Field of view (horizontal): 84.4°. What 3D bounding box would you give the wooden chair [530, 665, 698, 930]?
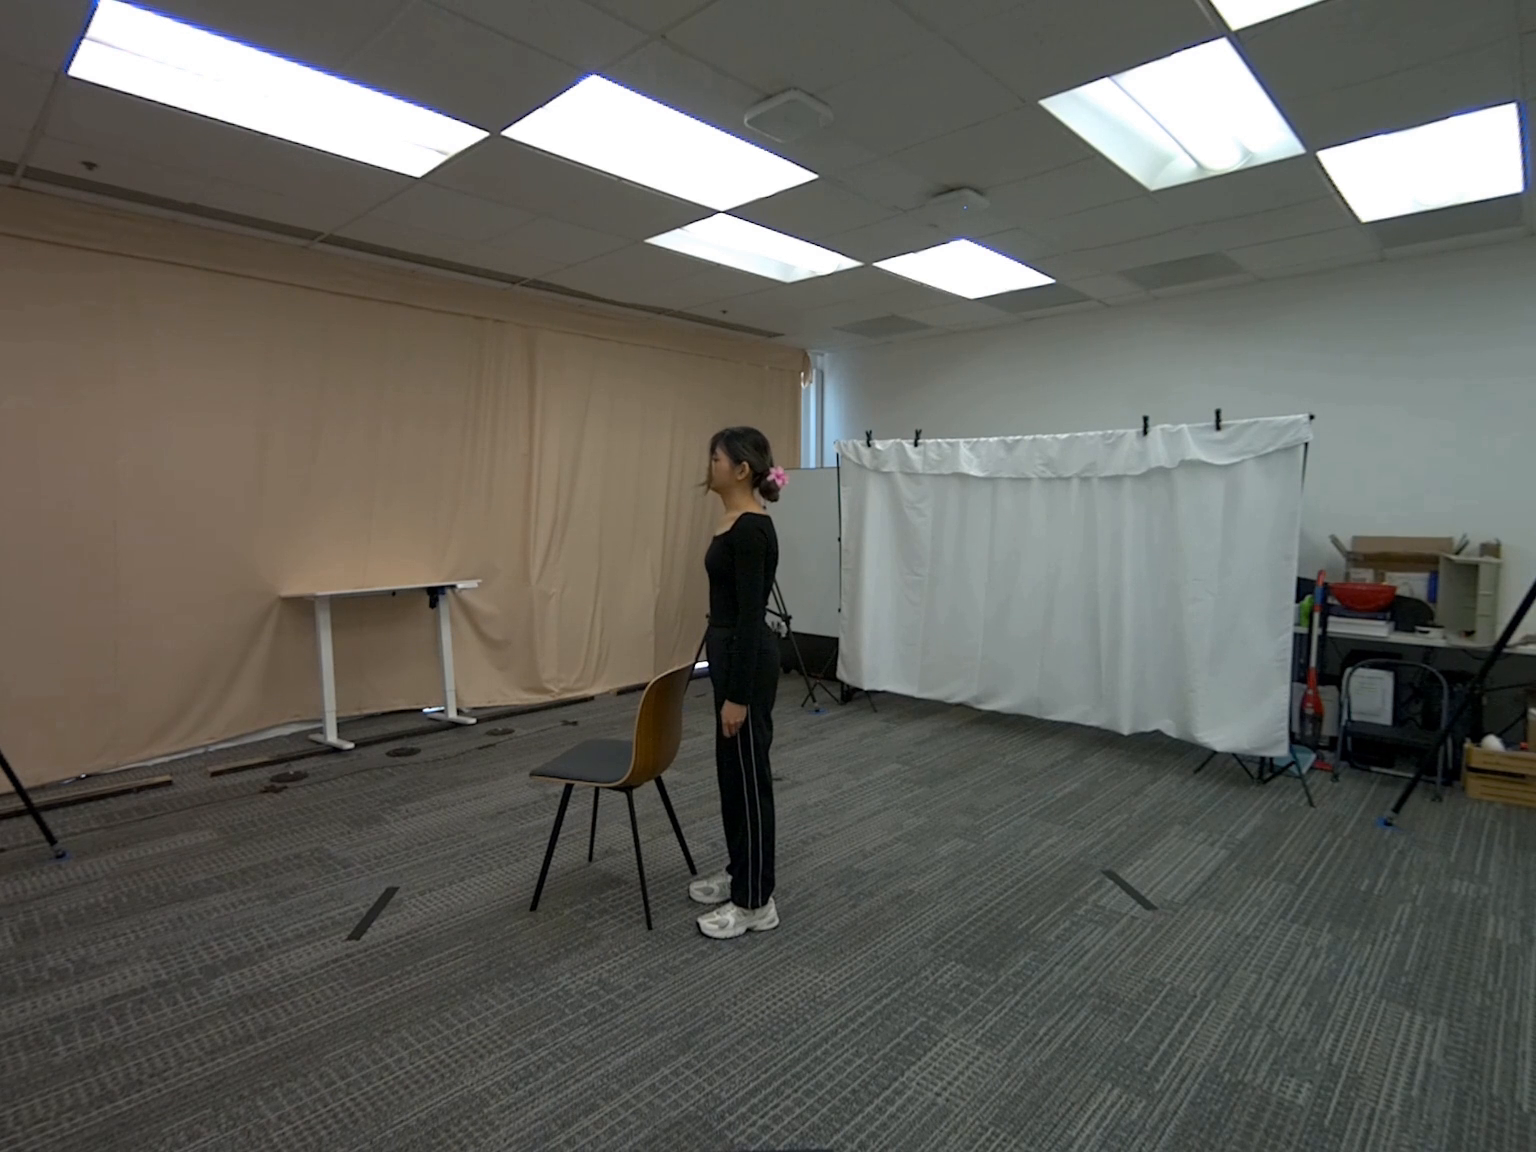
[{"bbox_3d":[-0.550,0.718,3.016,0.533,0.875,0.470,5,5,16],"label":"wooden chair"}]
